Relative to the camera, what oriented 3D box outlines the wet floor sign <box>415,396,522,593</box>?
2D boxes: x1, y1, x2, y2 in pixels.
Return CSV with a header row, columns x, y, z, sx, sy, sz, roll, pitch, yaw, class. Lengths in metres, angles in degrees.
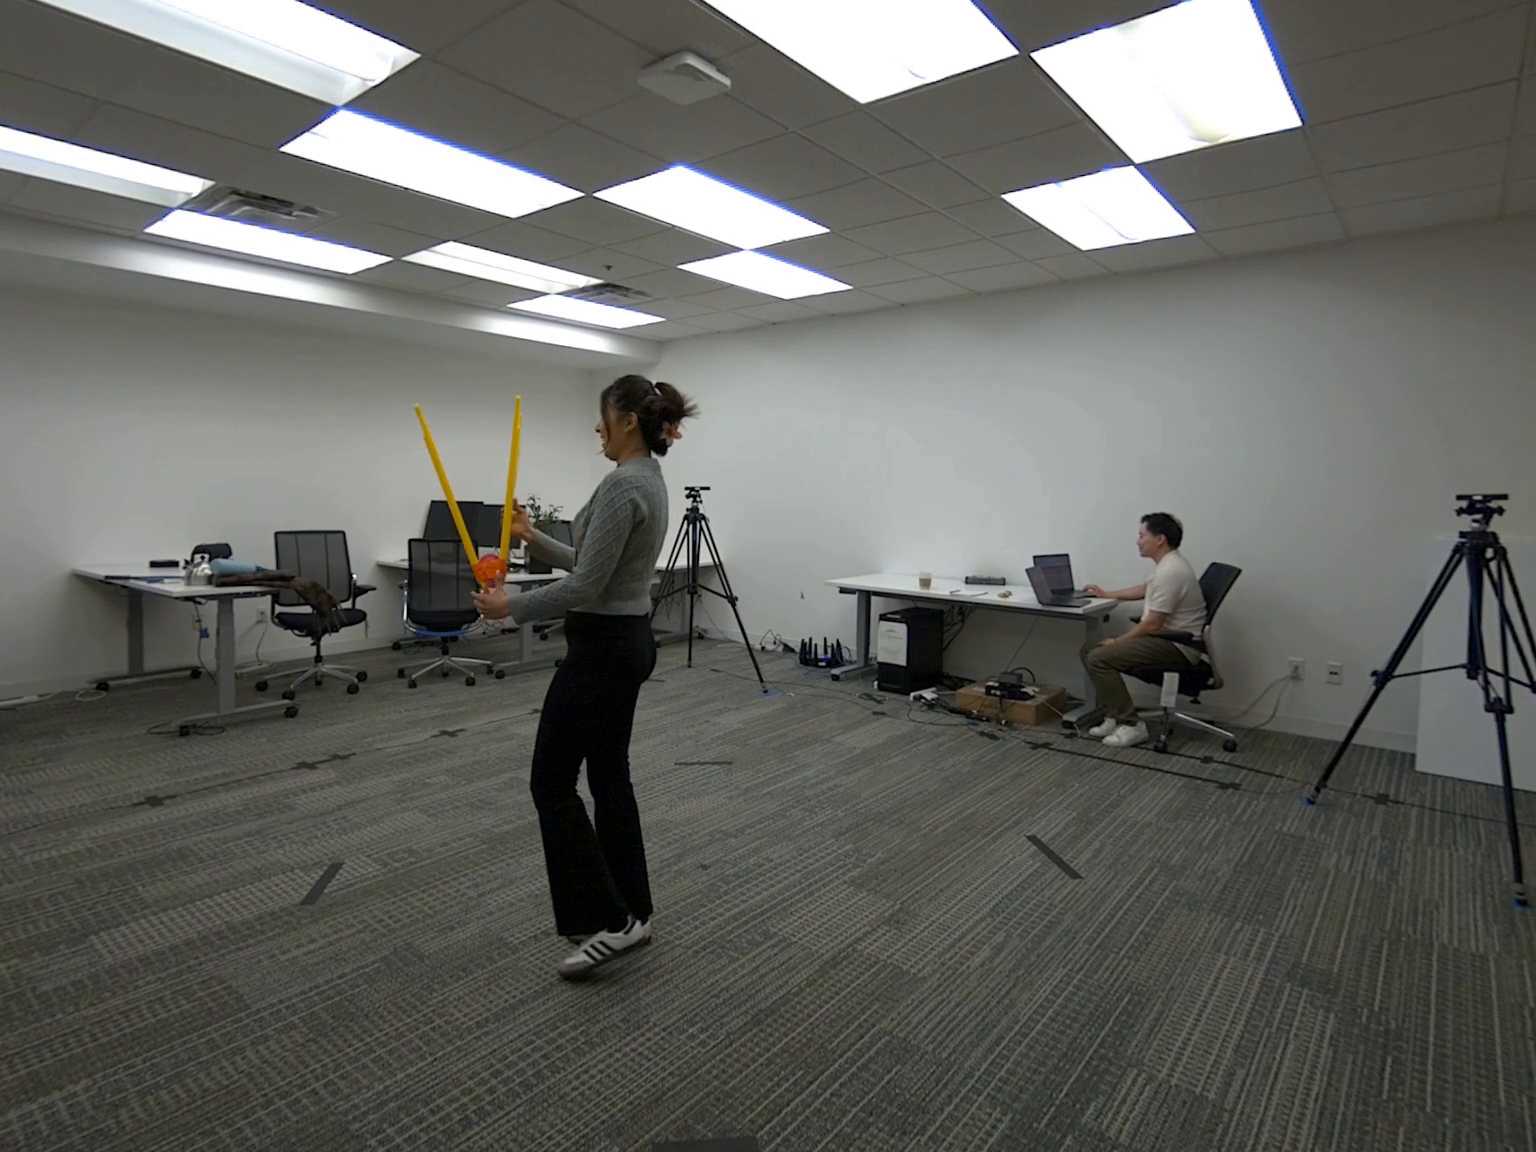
x,y,z,sx,sy,sz,roll,pitch,yaw,class
-0.878,-0.189,2.595,0.286,0.650,0.284,-8,-5,-15,wet floor sign
